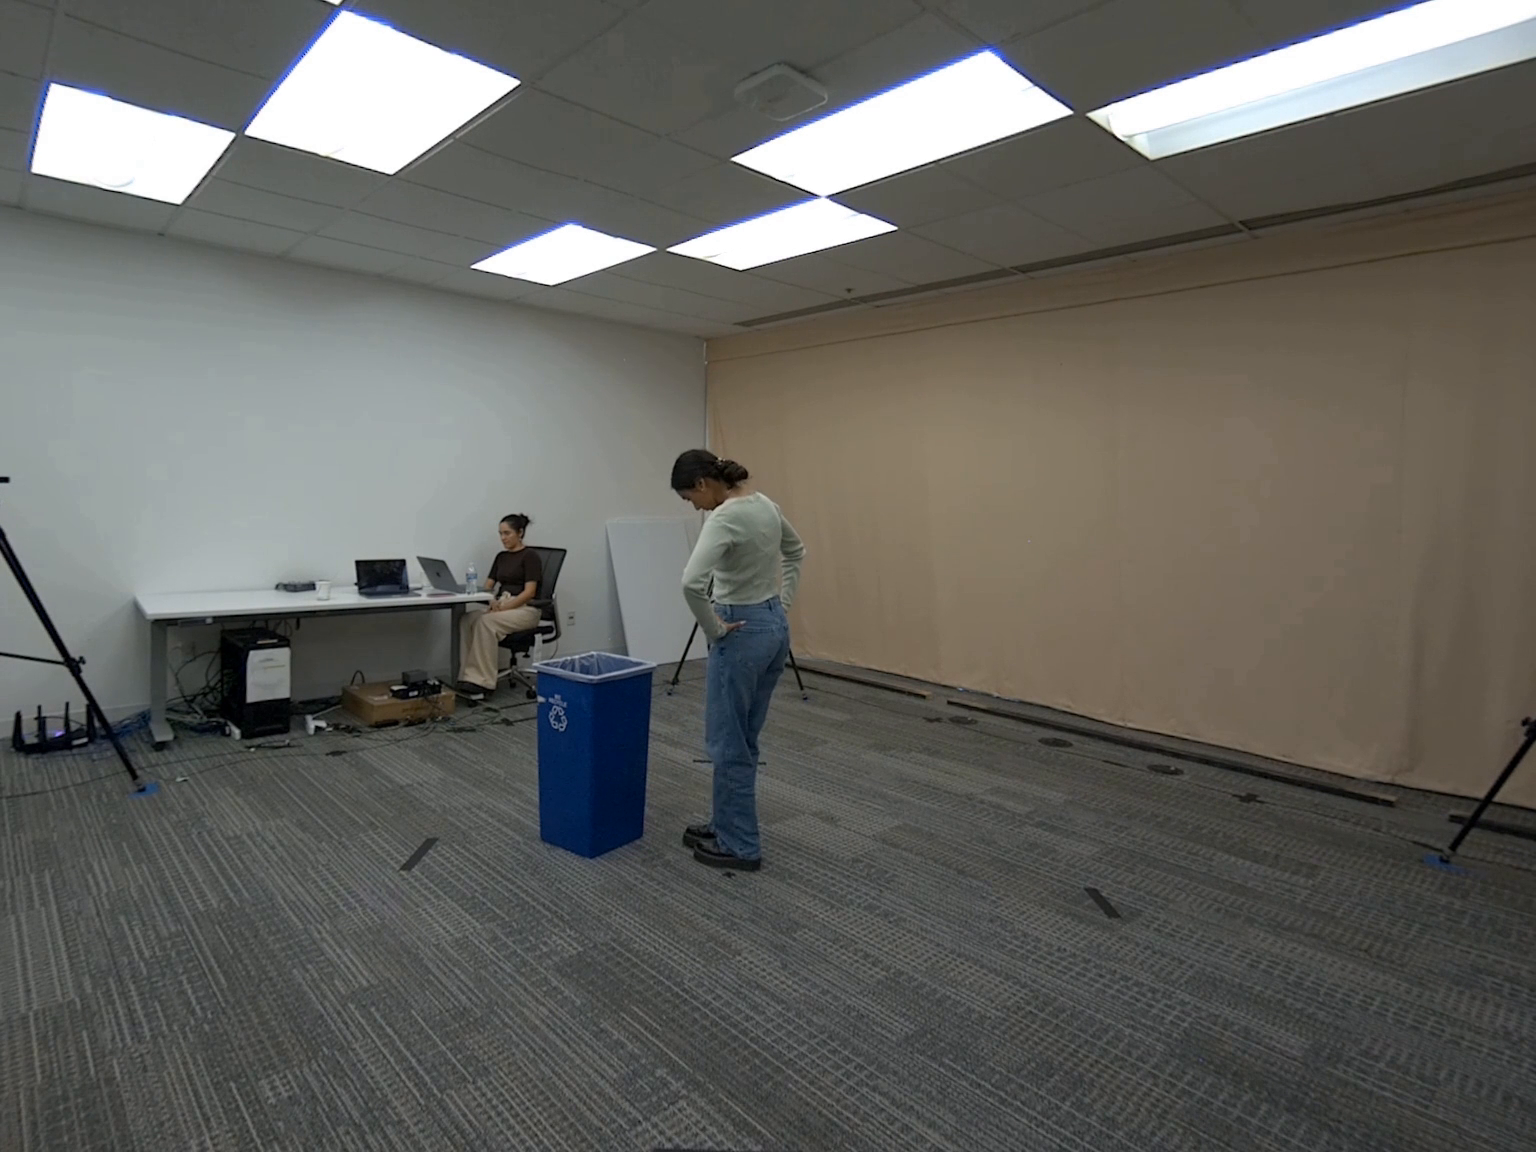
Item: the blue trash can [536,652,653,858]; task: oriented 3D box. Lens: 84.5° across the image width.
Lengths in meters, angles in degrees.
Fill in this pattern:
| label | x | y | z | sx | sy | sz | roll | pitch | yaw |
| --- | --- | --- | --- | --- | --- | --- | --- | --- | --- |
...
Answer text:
| label | x | y | z | sx | sy | sz | roll | pitch | yaw |
| --- | --- | --- | --- | --- | --- | --- | --- | --- | --- |
| blue trash can | -0.712 | 0.708 | 3.388 | 0.387 | 0.712 | 0.366 | 4 | 4 | 36 |
